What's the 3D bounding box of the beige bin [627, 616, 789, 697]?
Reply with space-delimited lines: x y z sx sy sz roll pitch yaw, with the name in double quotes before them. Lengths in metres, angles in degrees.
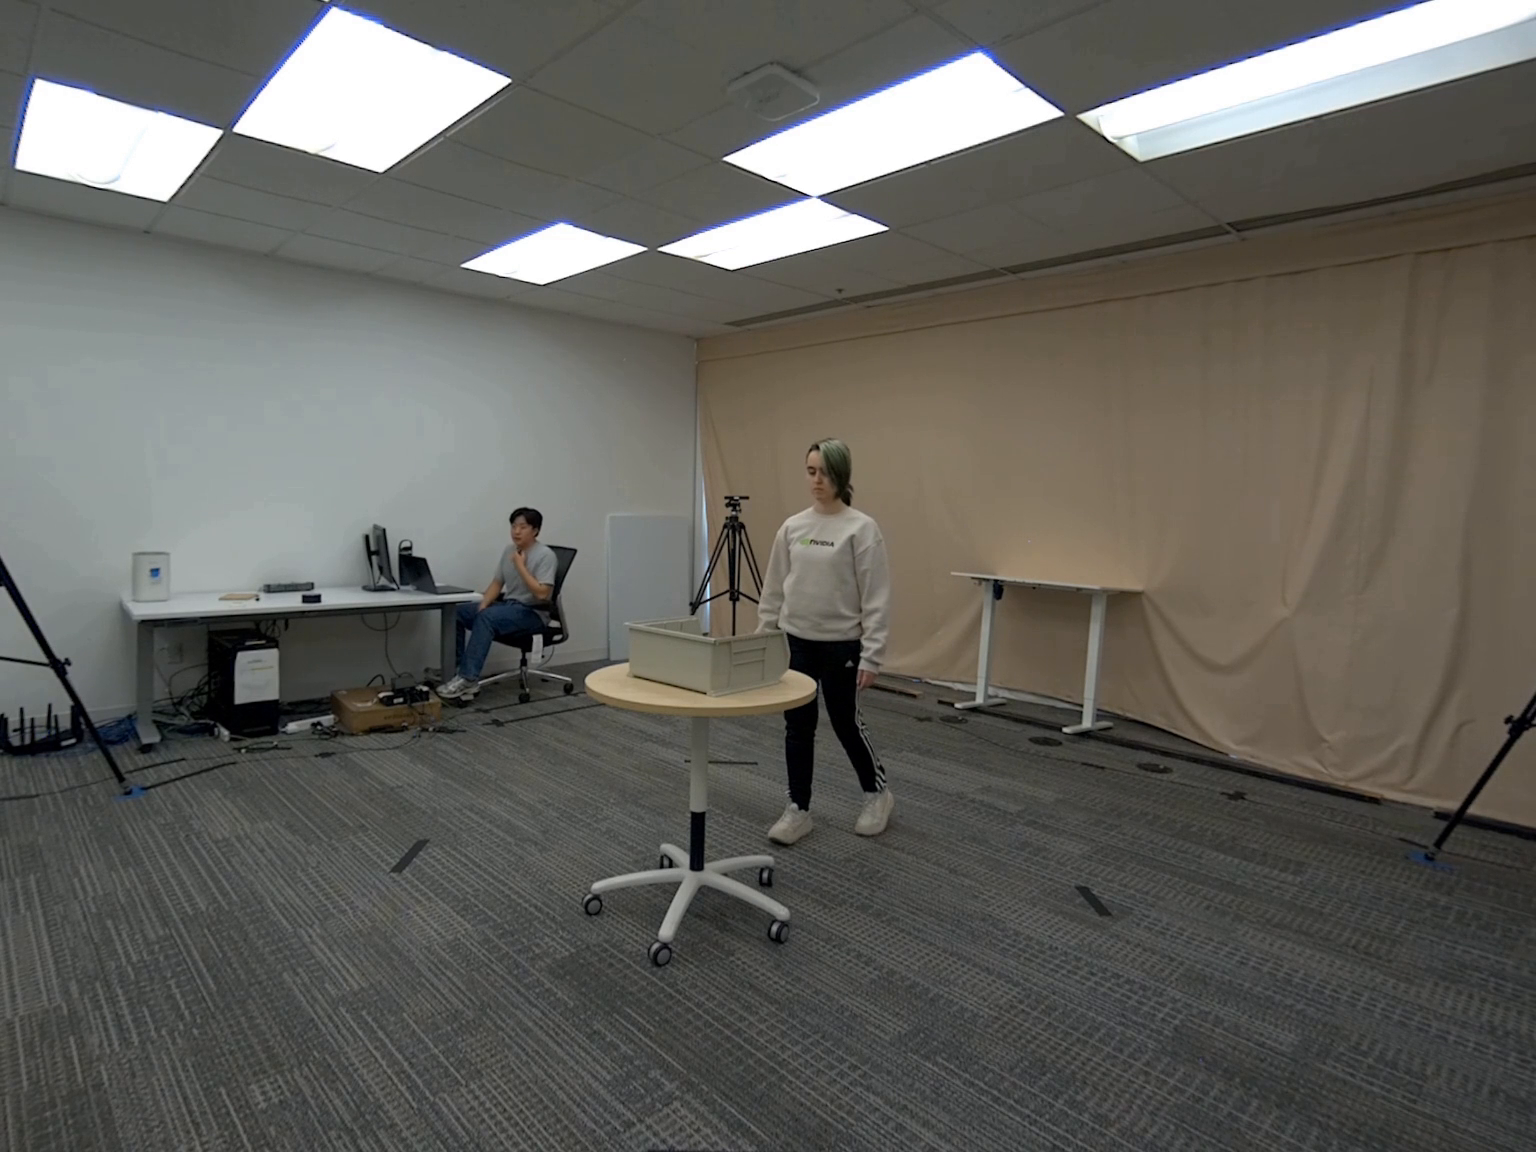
"beige bin" -0.209 0.259 2.812 0.433 0.188 0.369 6 8 41
